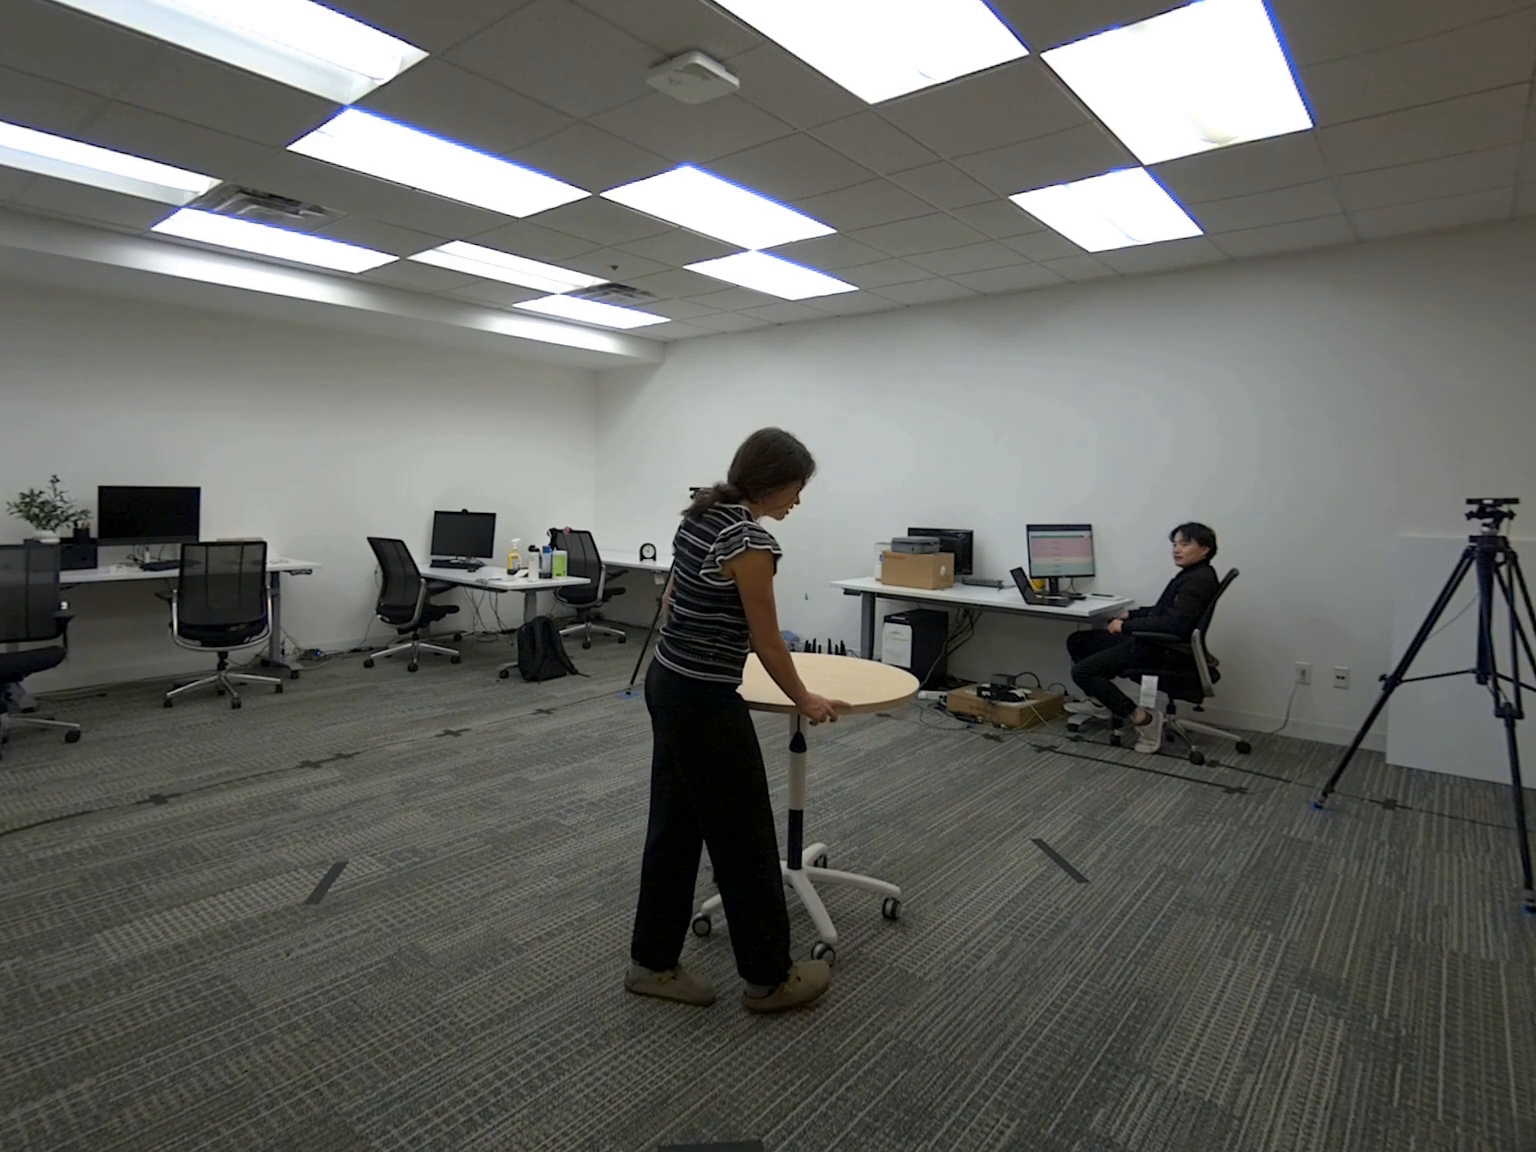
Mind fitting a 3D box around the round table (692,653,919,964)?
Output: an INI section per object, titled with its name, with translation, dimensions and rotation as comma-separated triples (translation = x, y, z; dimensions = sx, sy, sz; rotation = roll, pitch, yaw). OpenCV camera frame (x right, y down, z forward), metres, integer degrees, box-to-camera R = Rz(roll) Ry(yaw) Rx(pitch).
[round table]
translation = 0.086, 0.712, 2.812
dimensions = 0.763, 0.791, 0.768
rotation = 1, 4, -2
